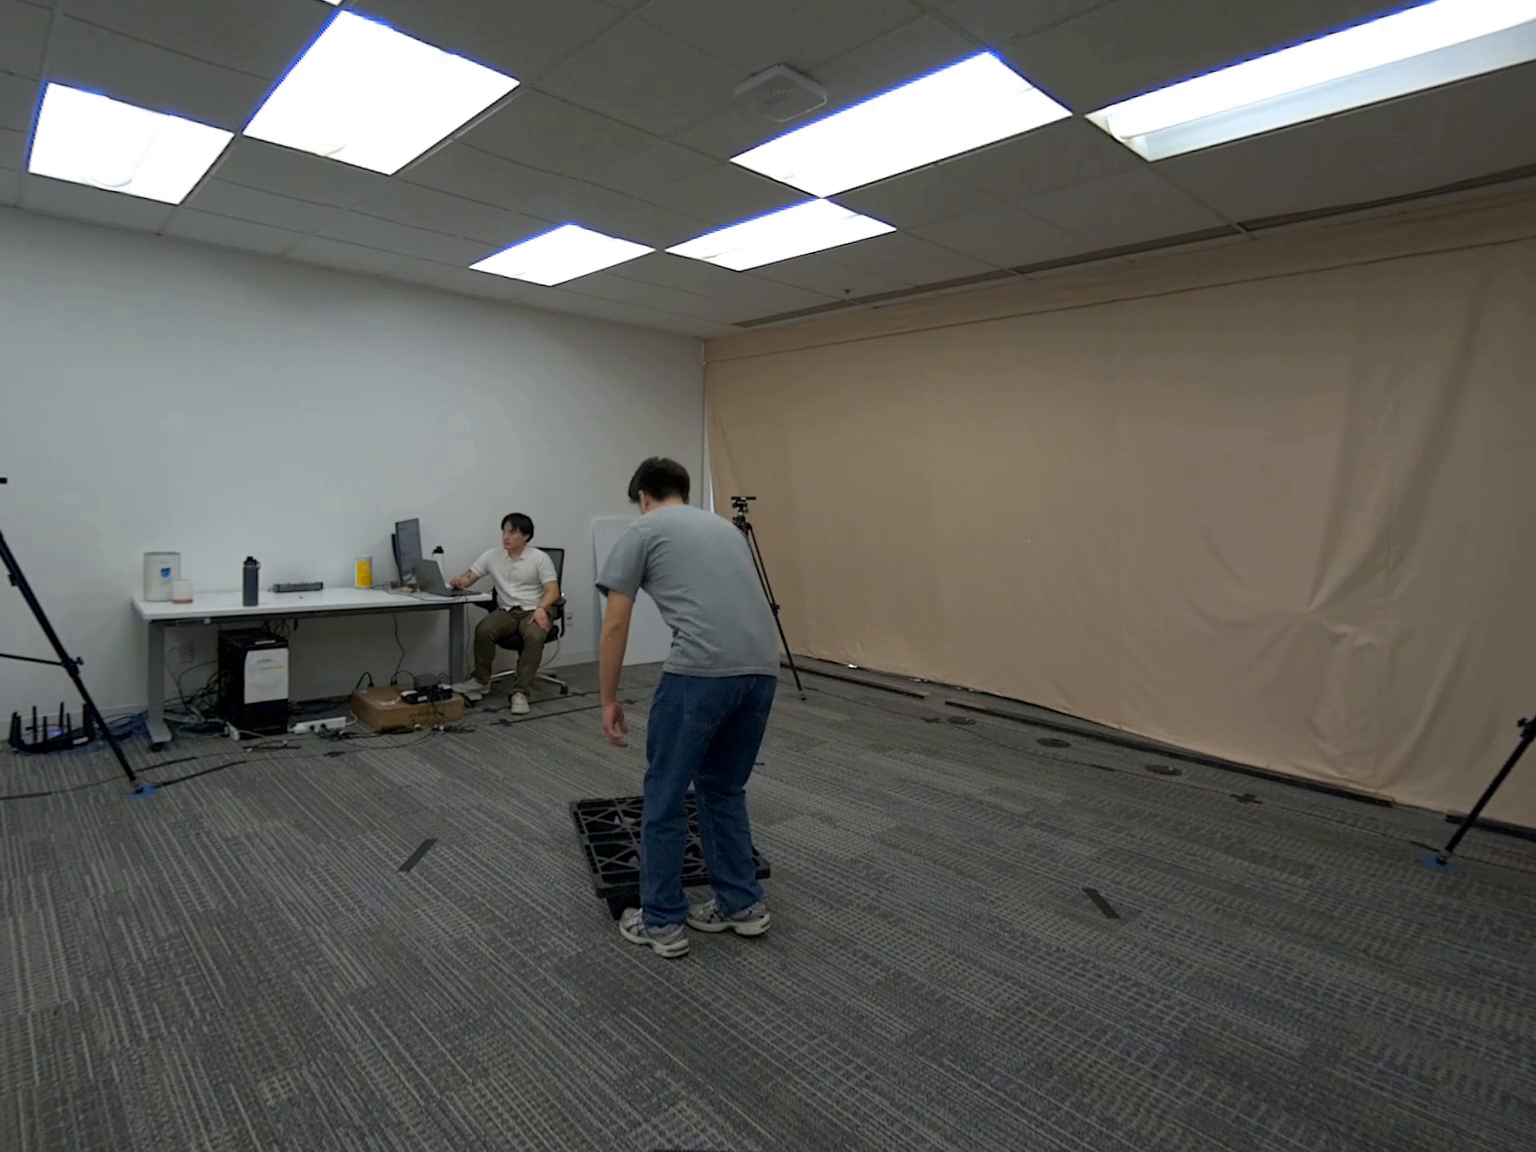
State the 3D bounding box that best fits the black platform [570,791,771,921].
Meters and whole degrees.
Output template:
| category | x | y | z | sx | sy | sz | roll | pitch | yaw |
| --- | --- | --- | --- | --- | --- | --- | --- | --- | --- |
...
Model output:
| category | x | y | z | sx | sy | sz | roll | pitch | yaw |
| --- | --- | --- | --- | --- | --- | --- | --- | --- | --- |
| black platform | -0.407 | 1.027 | 3.173 | 0.596 | 0.143 | 0.820 | 0 | 6 | -19 |
